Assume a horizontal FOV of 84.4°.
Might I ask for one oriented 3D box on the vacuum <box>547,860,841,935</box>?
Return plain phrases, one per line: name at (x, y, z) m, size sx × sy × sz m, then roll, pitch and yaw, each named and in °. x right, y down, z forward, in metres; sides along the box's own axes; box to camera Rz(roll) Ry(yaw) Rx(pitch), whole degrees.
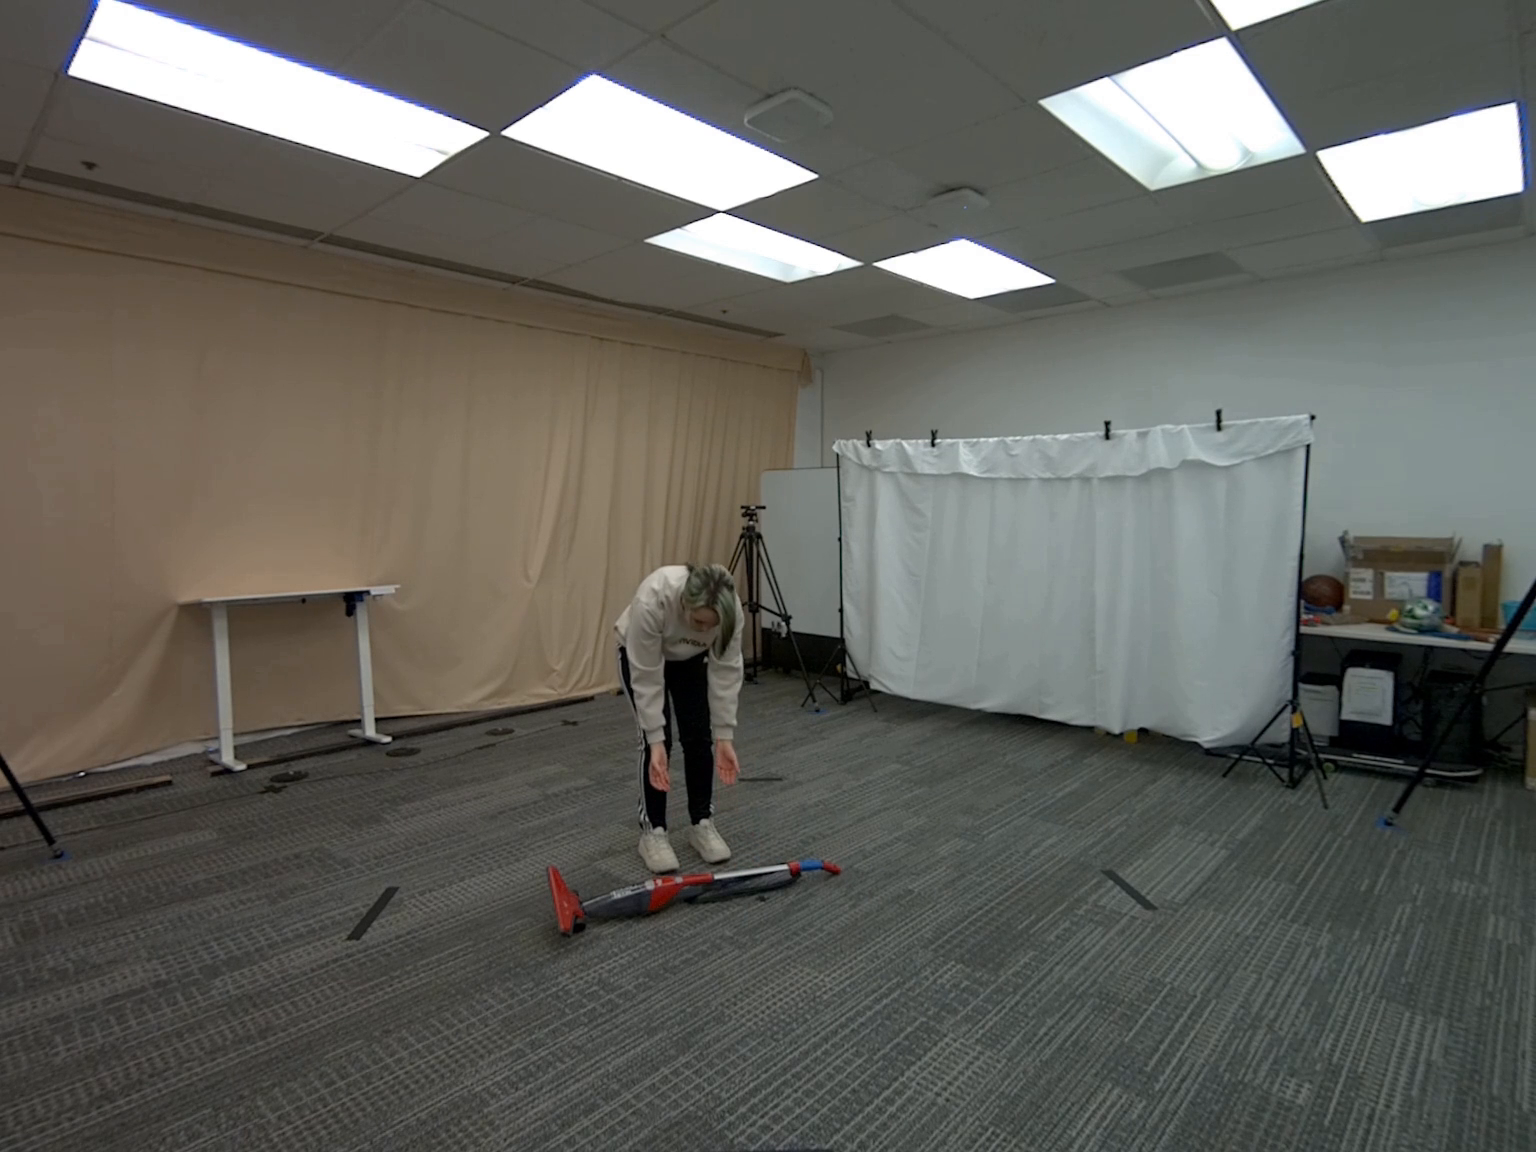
vacuum at (-0.209, 1.092, 2.973) m, size 1.024 × 0.143 × 0.260 m, roll 2°, pitch 34°, yaw -24°
